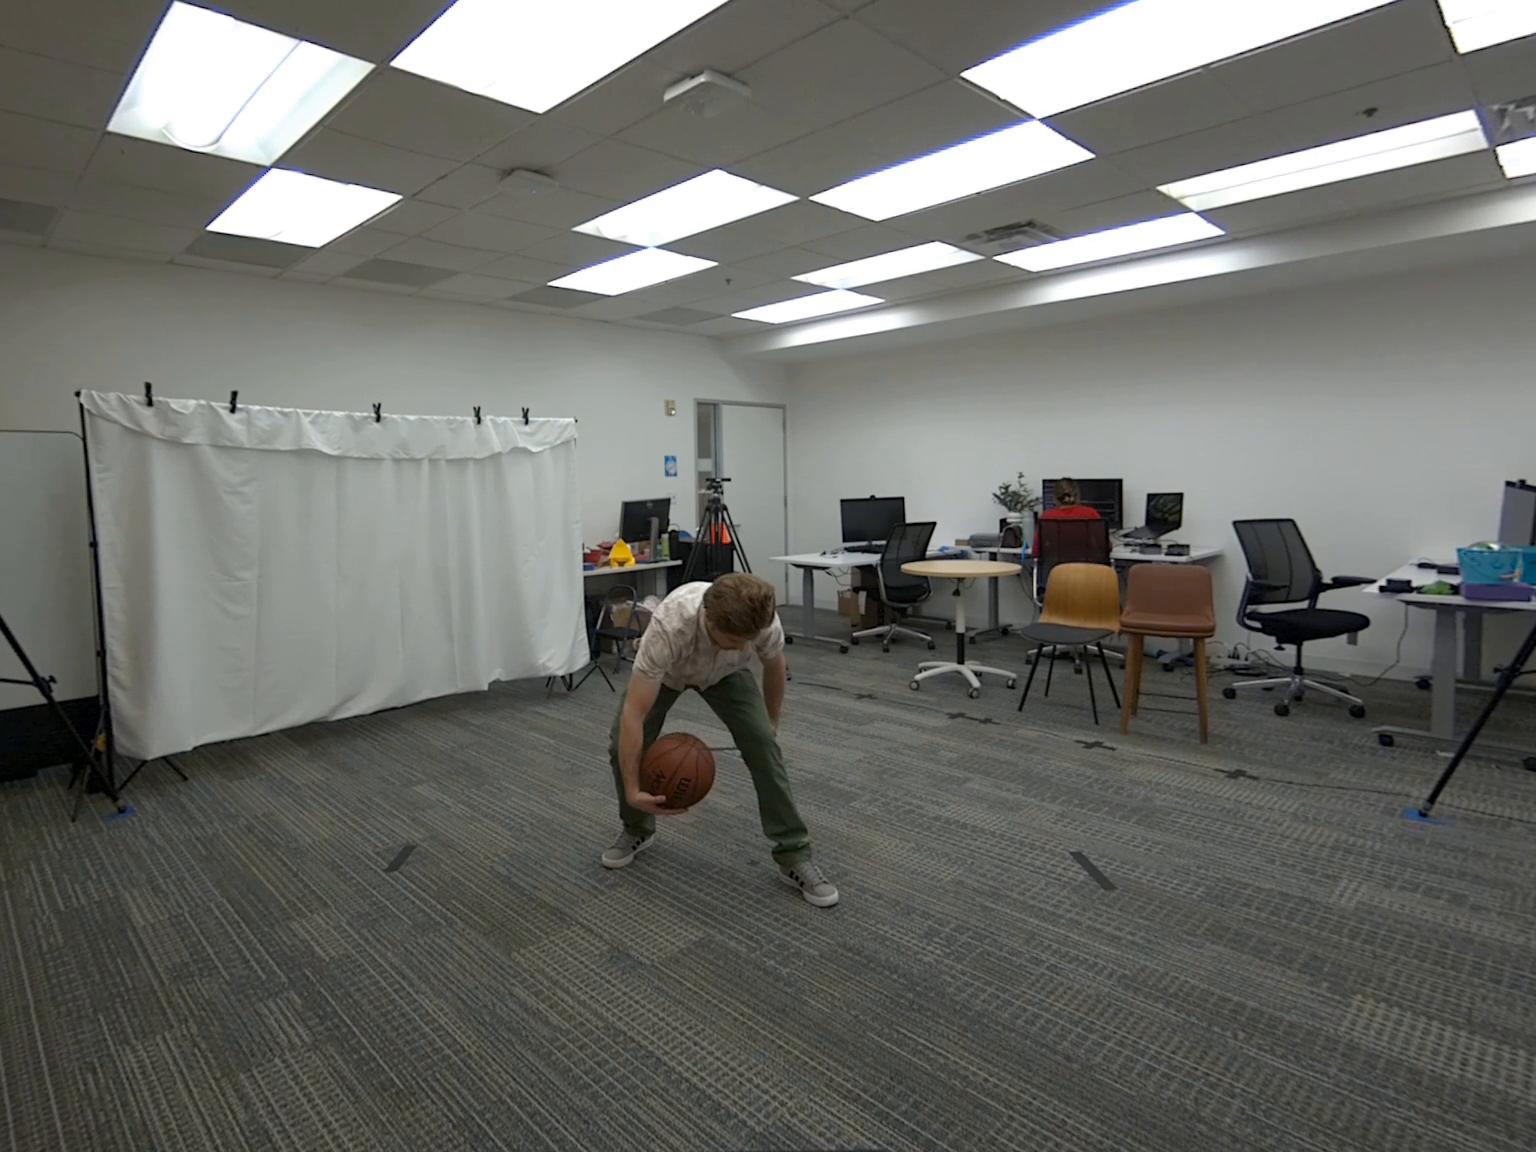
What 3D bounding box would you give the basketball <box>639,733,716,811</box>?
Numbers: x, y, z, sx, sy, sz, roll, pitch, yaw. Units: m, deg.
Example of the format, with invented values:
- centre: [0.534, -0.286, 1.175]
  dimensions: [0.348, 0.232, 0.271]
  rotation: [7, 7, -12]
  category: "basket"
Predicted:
- centre: [-0.287, 0.632, 2.756]
  dimensions: [0.236, 0.235, 0.237]
  rotation: [-1, 5, -2]
  category: "basketball"
